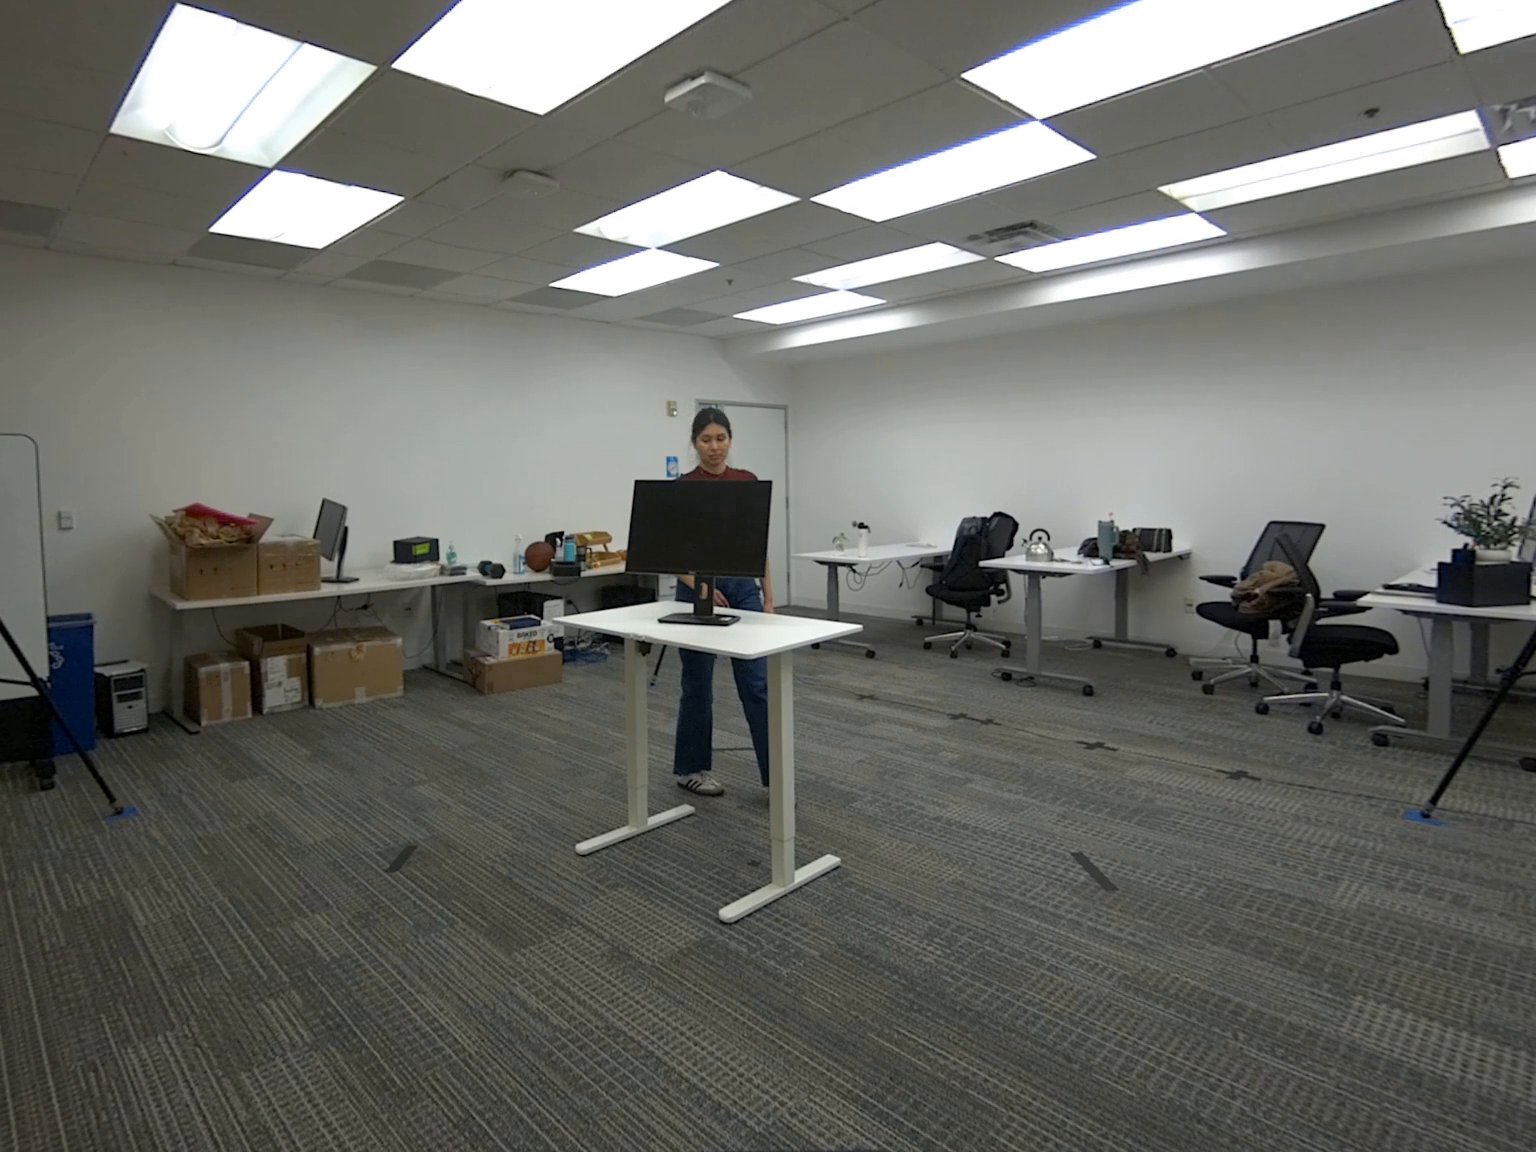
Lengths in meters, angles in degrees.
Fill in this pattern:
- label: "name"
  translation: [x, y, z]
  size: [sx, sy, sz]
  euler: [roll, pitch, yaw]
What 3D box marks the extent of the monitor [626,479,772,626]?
- label: "monitor"
  translation: [-0.250, -0.087, 3.116]
  size: [0.548, 0.521, 0.184]
  euler: [2, 3, 18]
